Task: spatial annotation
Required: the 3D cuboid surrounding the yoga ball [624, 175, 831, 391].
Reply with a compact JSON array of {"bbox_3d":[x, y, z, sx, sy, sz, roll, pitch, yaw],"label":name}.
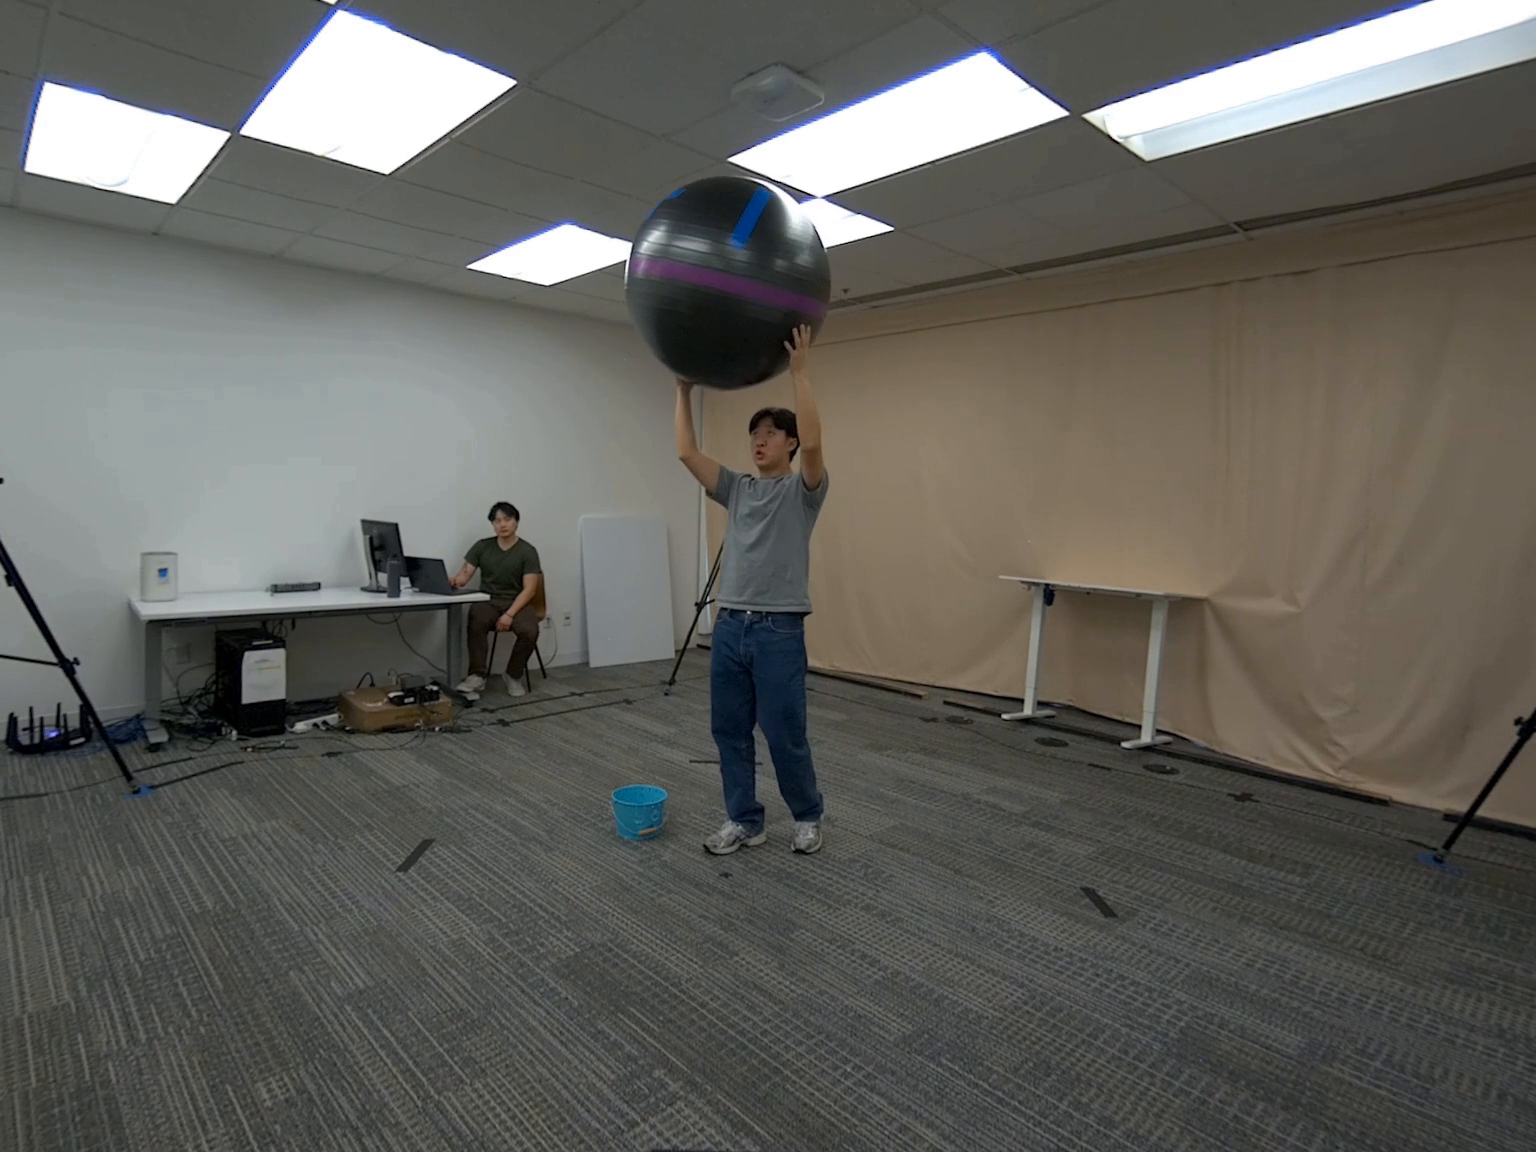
[{"bbox_3d":[-0.151,-1.076,3.142,0.757,0.756,0.761,1,4,-1],"label":"yoga ball"}]
